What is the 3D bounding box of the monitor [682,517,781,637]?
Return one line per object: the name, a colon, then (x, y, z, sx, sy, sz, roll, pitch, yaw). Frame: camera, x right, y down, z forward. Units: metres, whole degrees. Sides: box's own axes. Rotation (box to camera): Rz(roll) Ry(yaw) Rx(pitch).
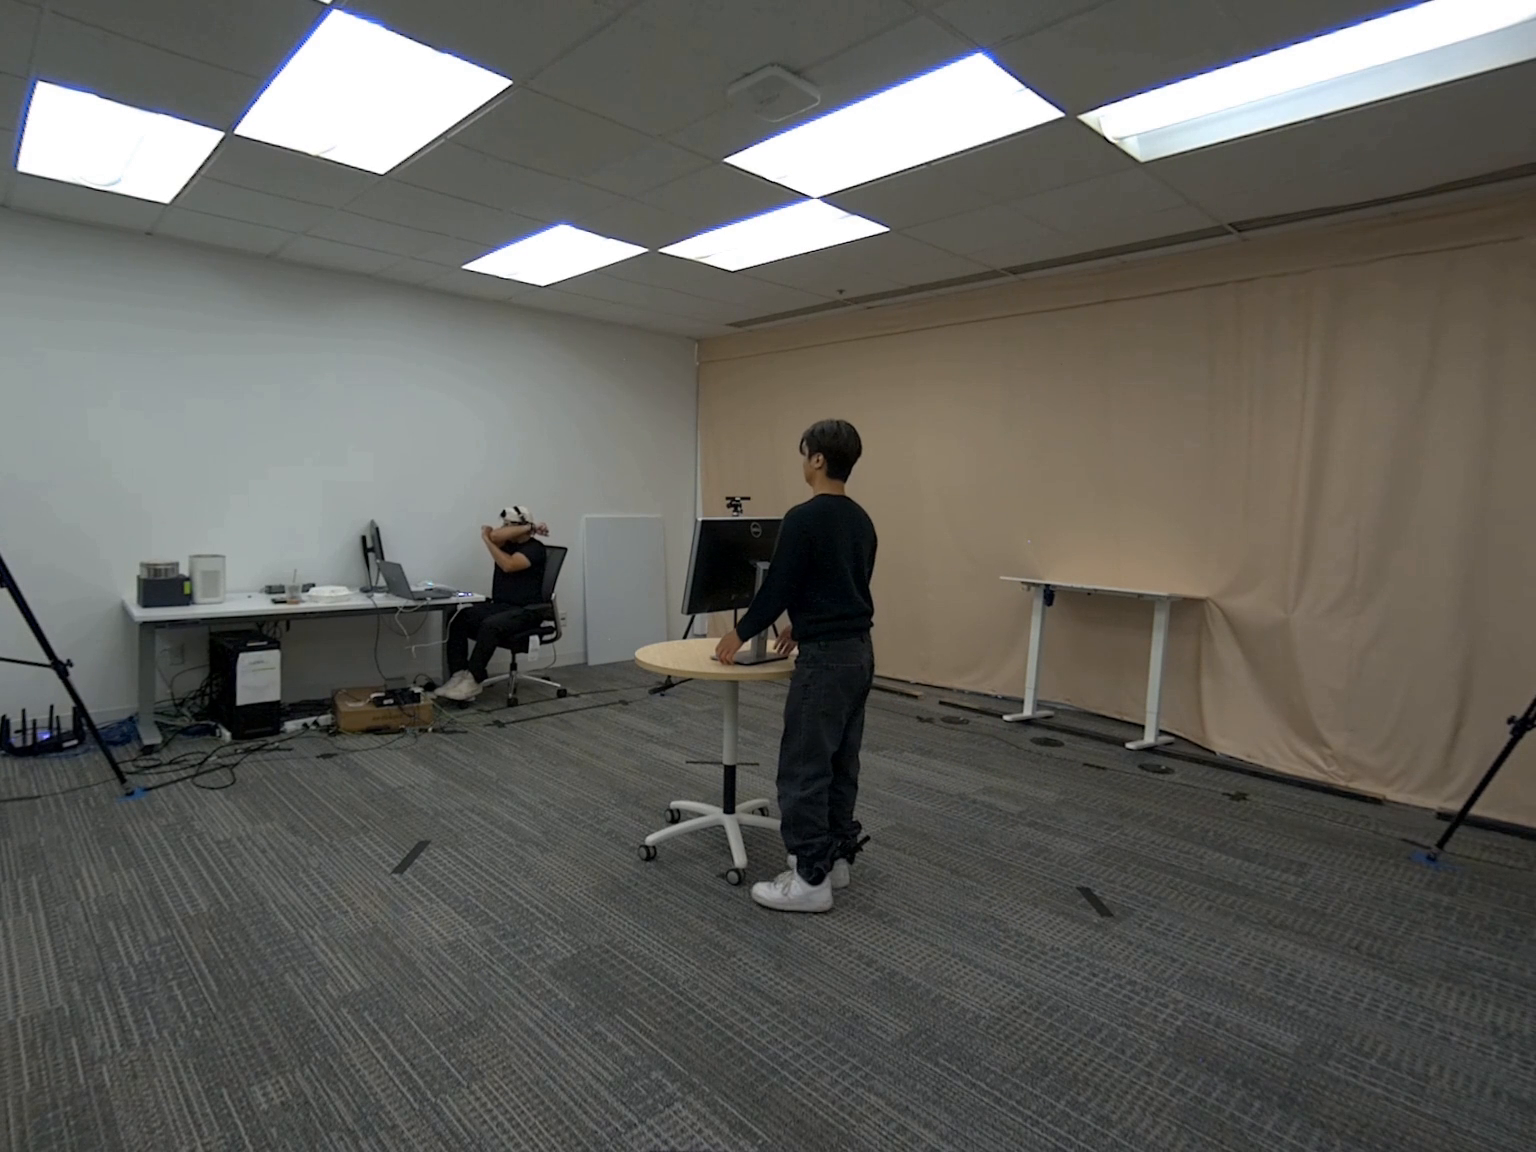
monitor: (-0.075, 0.047, 3.209, 0.192, 0.521, 0.527, 4, 5, 42)
